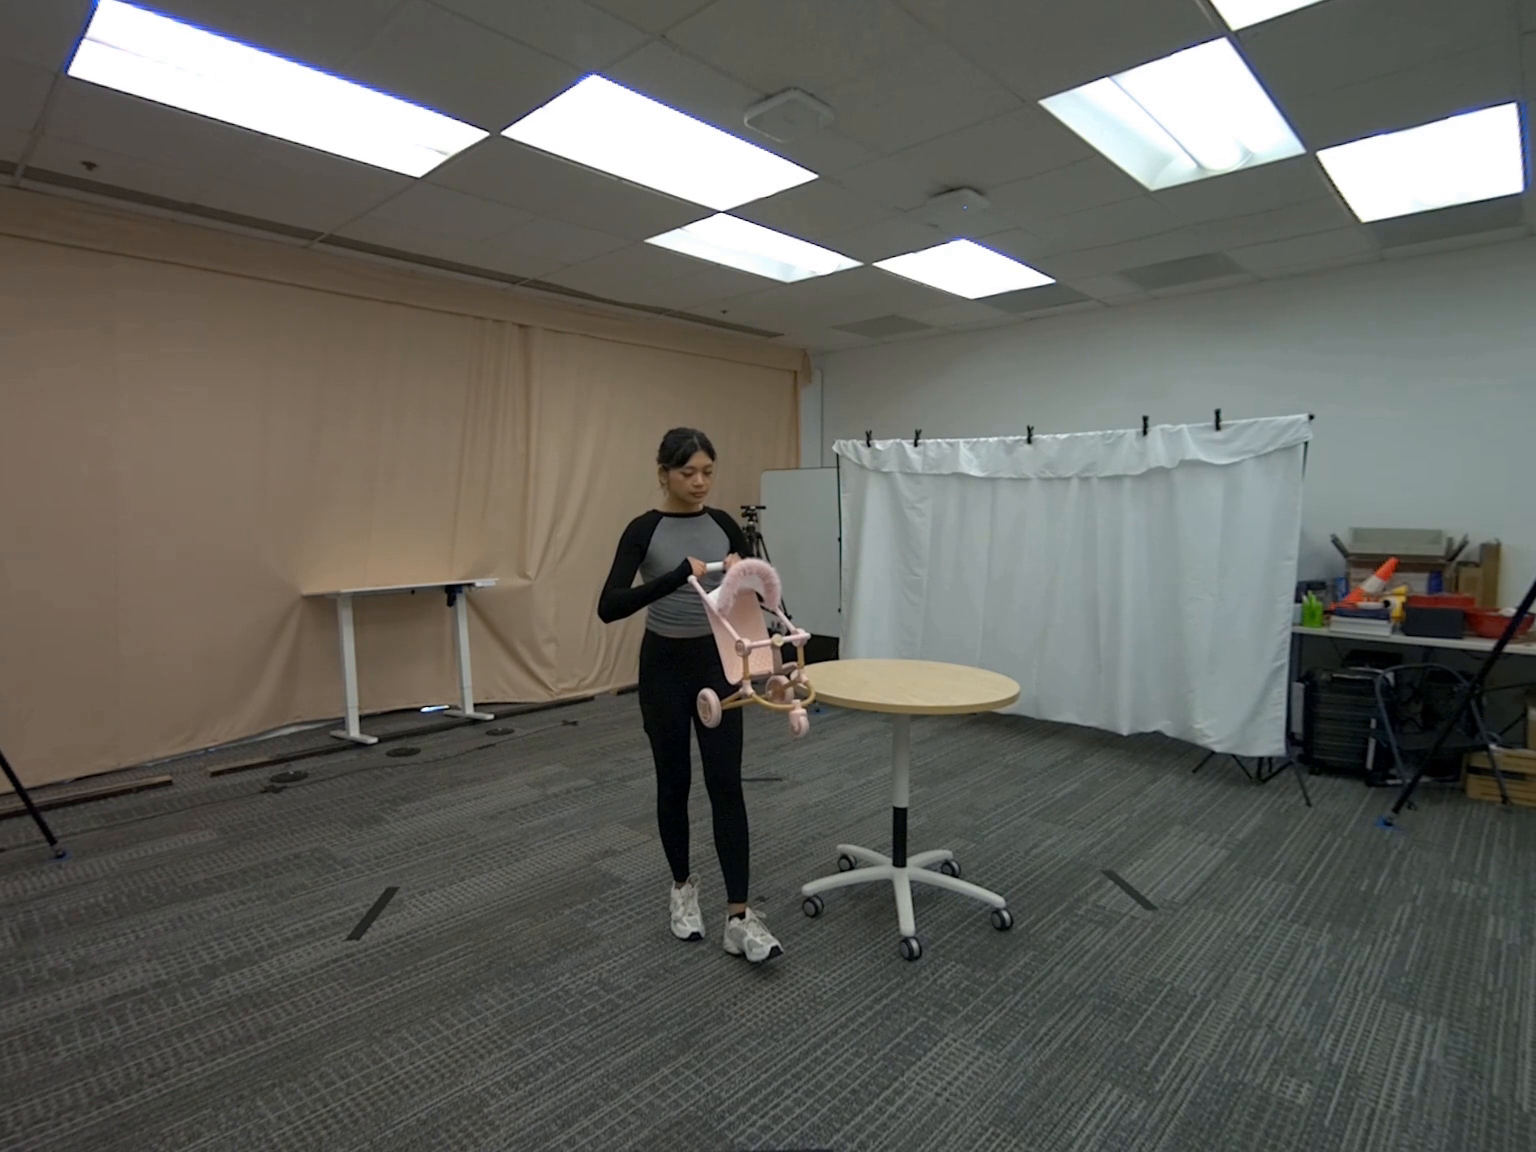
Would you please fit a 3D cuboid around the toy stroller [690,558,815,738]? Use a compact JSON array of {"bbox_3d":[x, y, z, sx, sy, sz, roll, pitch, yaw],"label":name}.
[{"bbox_3d":[-0.032,0.191,2.352,0.274,0.538,0.348,-6,-9,-30],"label":"toy stroller"}]
